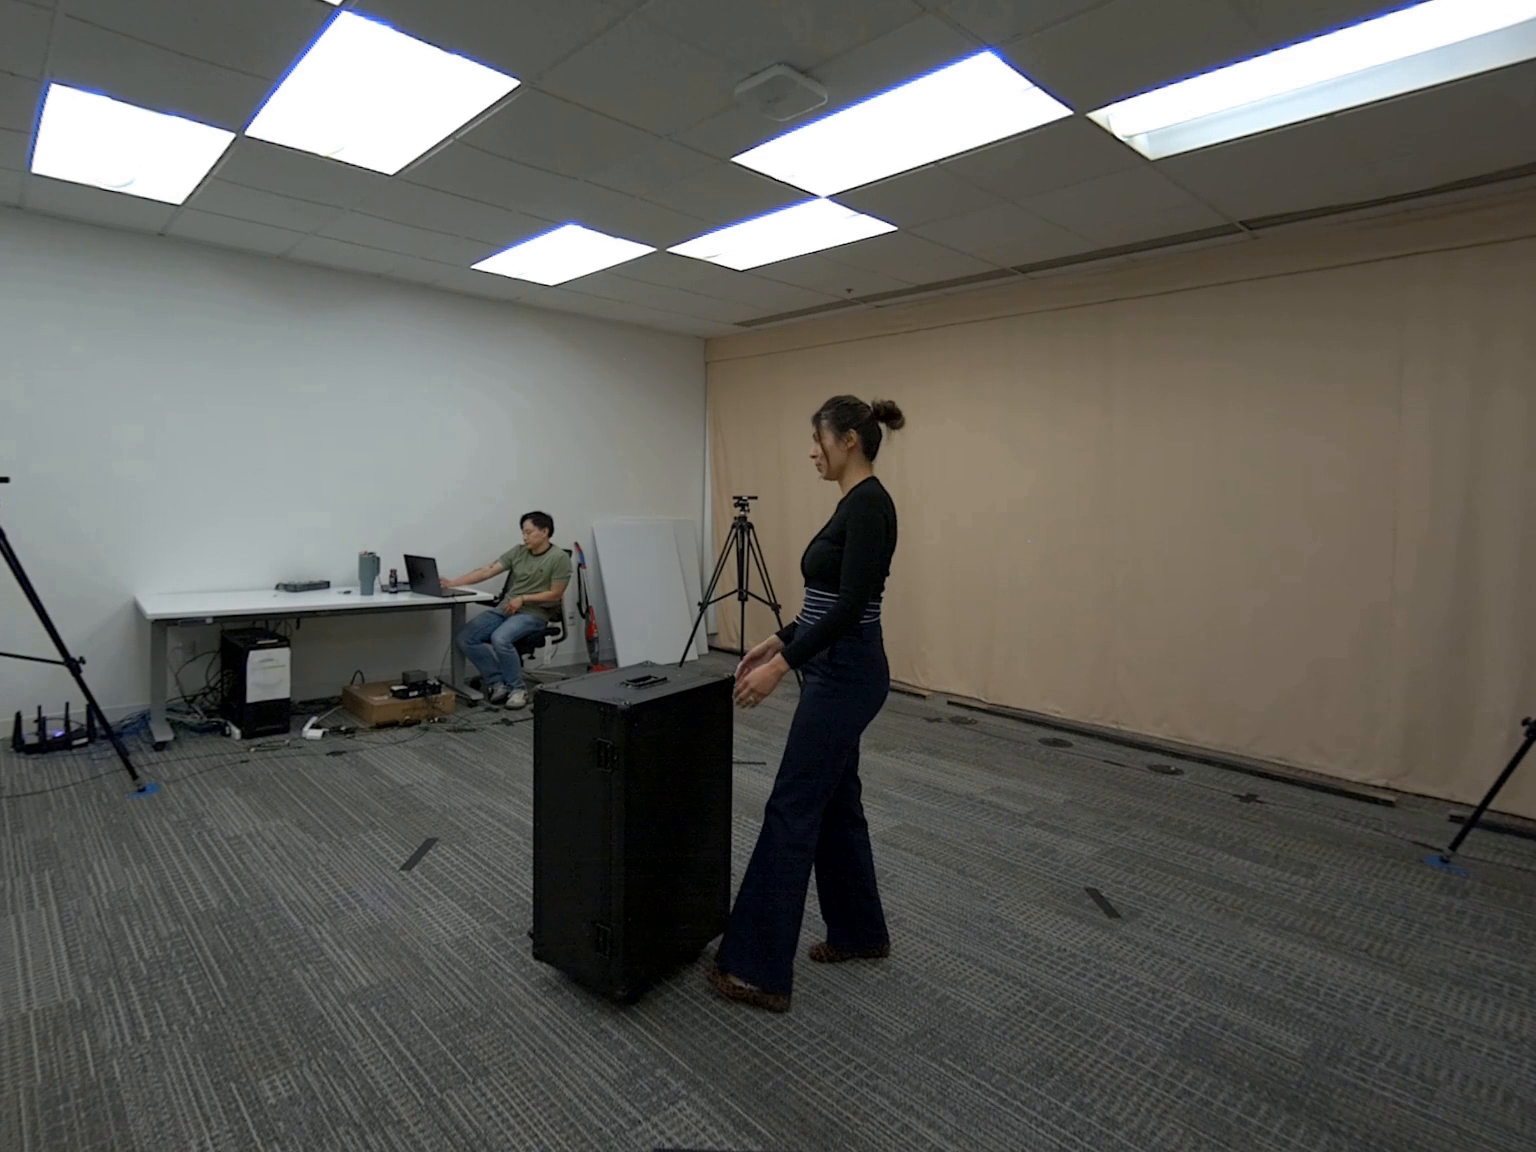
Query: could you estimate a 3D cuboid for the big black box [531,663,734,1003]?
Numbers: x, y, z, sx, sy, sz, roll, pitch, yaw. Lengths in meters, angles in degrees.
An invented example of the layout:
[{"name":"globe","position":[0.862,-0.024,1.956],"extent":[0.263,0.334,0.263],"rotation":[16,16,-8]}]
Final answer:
[{"name":"big black box","position":[-0.401,0.733,2.464],"extent":[0.405,0.860,0.510],"rotation":[2,3,34]}]
